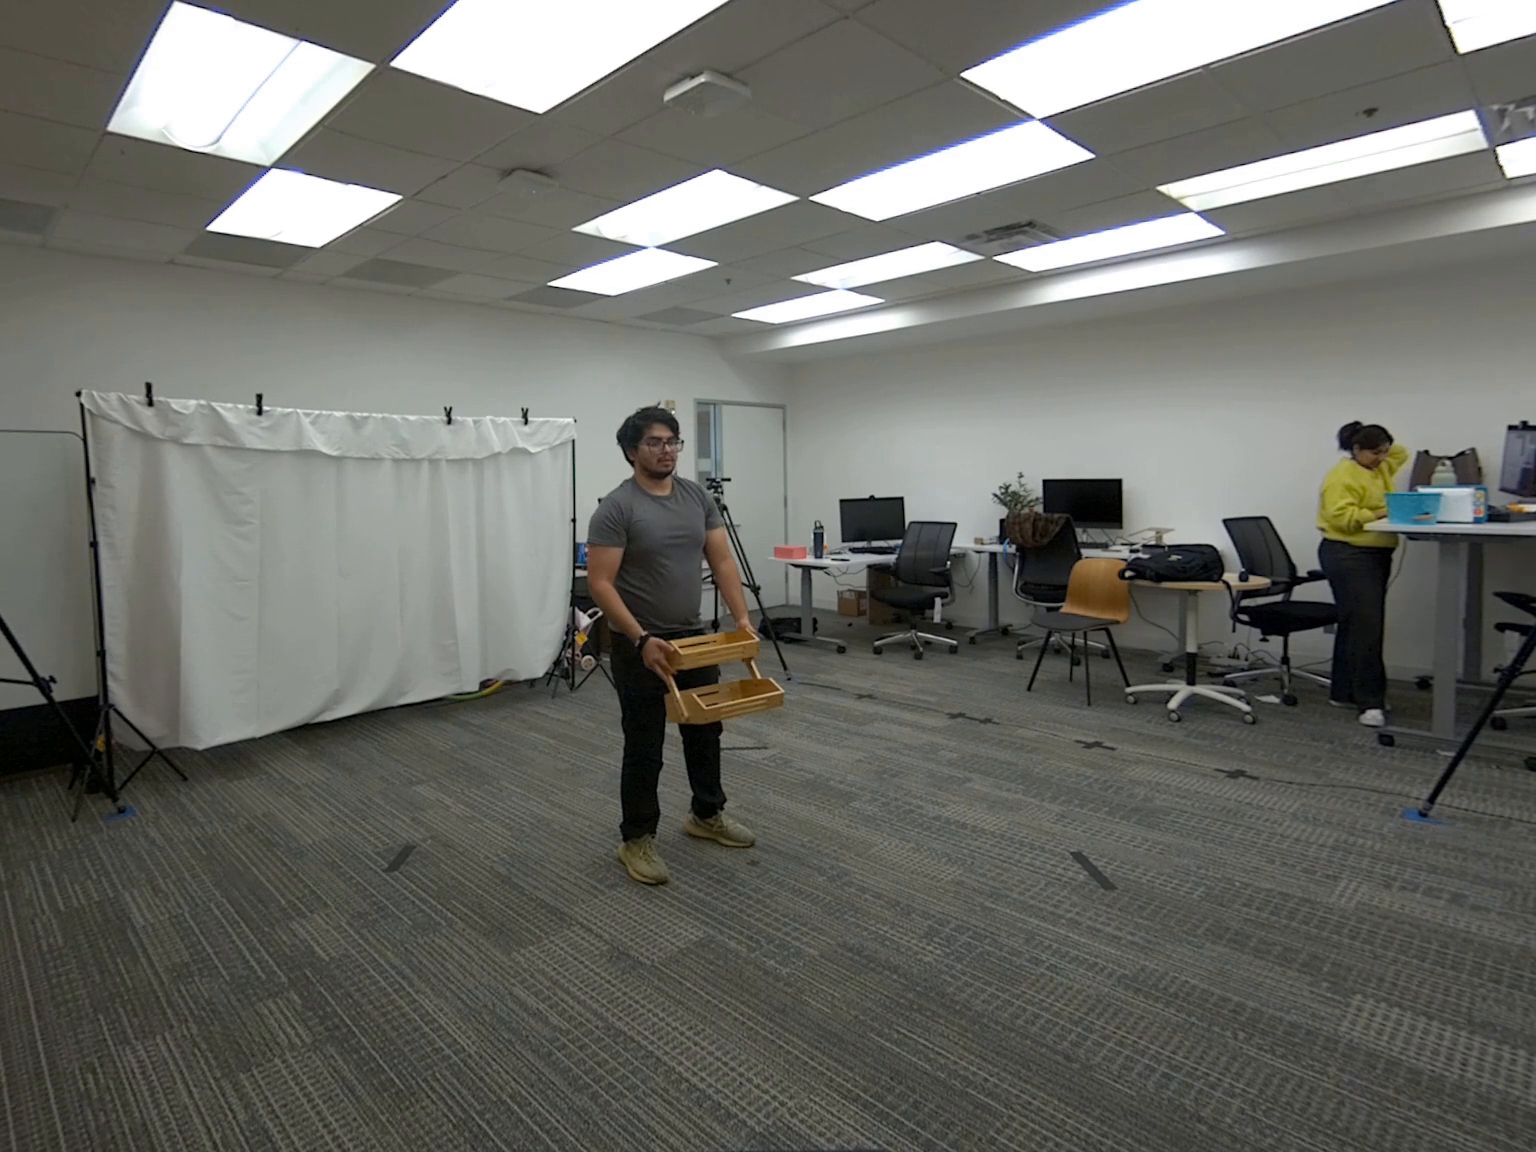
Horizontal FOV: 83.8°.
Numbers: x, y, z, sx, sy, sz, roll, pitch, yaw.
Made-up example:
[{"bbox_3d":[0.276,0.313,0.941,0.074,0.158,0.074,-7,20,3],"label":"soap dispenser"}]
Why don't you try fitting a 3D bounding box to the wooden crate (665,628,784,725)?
[{"bbox_3d":[-0.167,0.313,2.777,0.316,0.275,0.307,-6,-6,-34],"label":"wooden crate"}]
